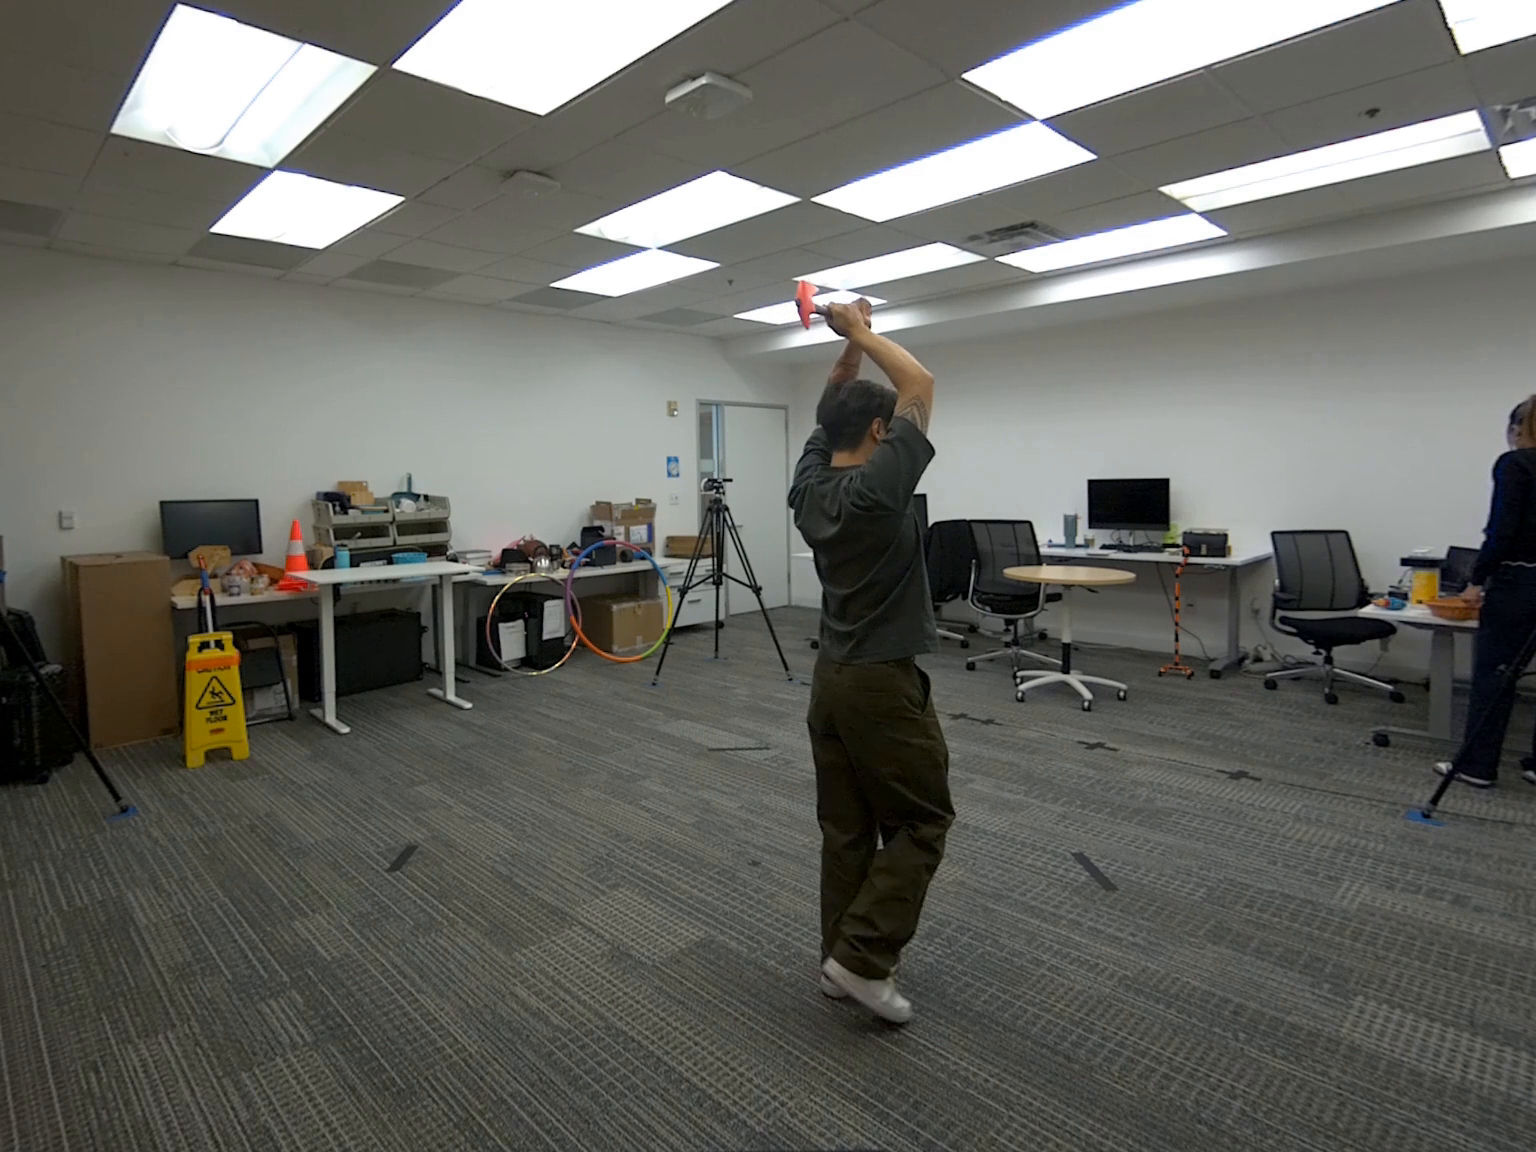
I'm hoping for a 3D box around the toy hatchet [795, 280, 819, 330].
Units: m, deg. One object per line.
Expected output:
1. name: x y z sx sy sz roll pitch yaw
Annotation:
1. toy hatchet: 0.176 -0.728 2.237 0.266 0.131 0.030 -22 -2 -33
